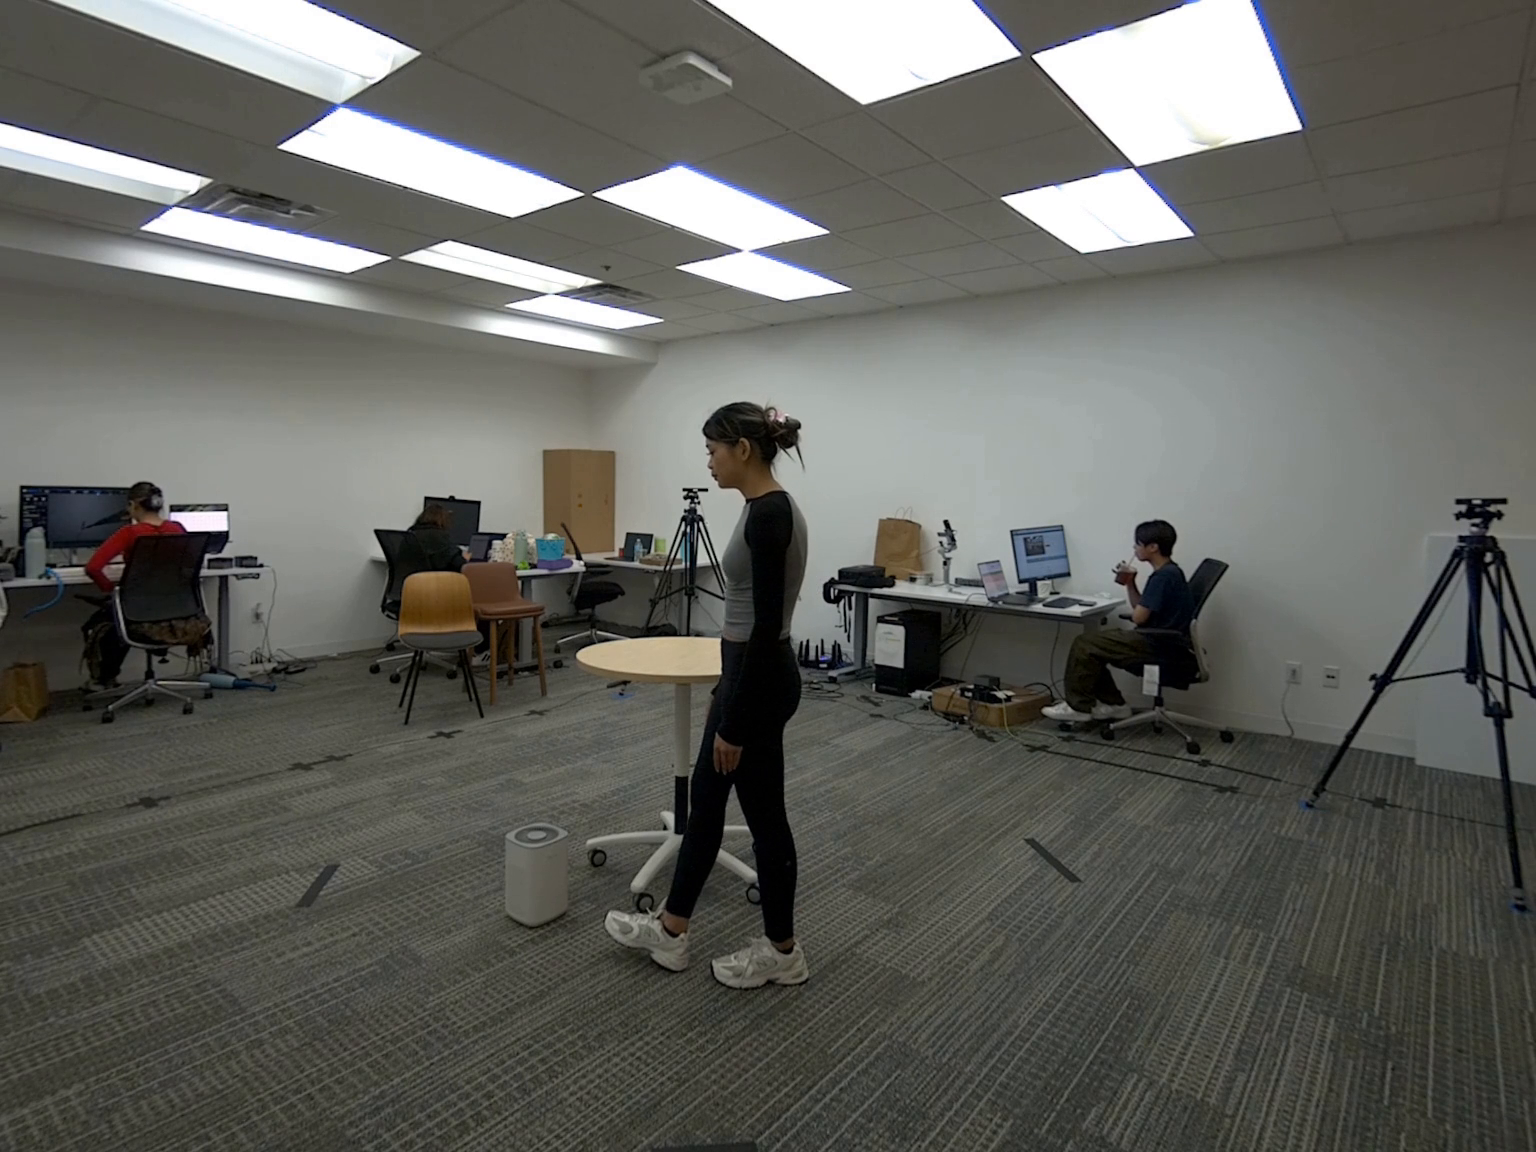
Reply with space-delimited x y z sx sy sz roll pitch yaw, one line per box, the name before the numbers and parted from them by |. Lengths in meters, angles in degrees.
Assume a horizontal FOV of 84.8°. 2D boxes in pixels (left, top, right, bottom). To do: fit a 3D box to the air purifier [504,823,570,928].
air purifier | -0.758 0.963 2.750 0.177 0.264 0.166 4 4 35
